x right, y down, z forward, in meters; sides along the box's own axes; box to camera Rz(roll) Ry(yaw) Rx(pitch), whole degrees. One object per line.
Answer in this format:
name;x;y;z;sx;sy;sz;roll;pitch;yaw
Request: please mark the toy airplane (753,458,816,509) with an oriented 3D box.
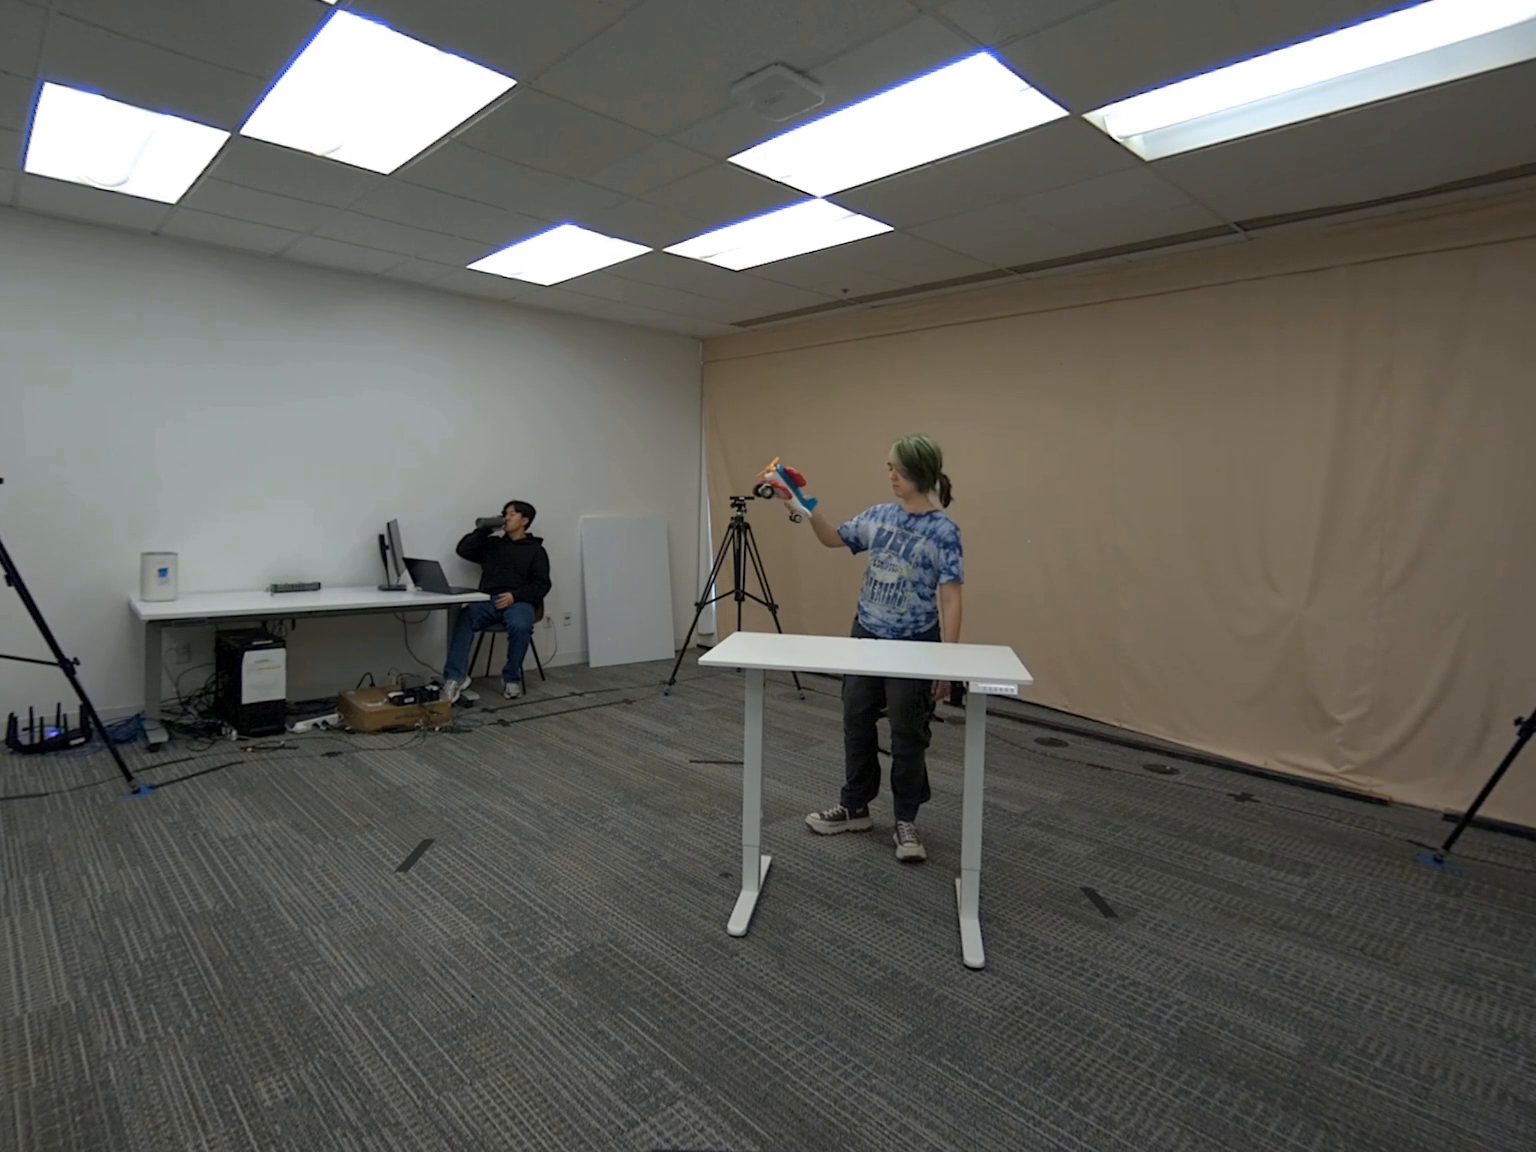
toy airplane;0.056;-0.334;3.348;0.259;0.156;0.251;28;-7;41
